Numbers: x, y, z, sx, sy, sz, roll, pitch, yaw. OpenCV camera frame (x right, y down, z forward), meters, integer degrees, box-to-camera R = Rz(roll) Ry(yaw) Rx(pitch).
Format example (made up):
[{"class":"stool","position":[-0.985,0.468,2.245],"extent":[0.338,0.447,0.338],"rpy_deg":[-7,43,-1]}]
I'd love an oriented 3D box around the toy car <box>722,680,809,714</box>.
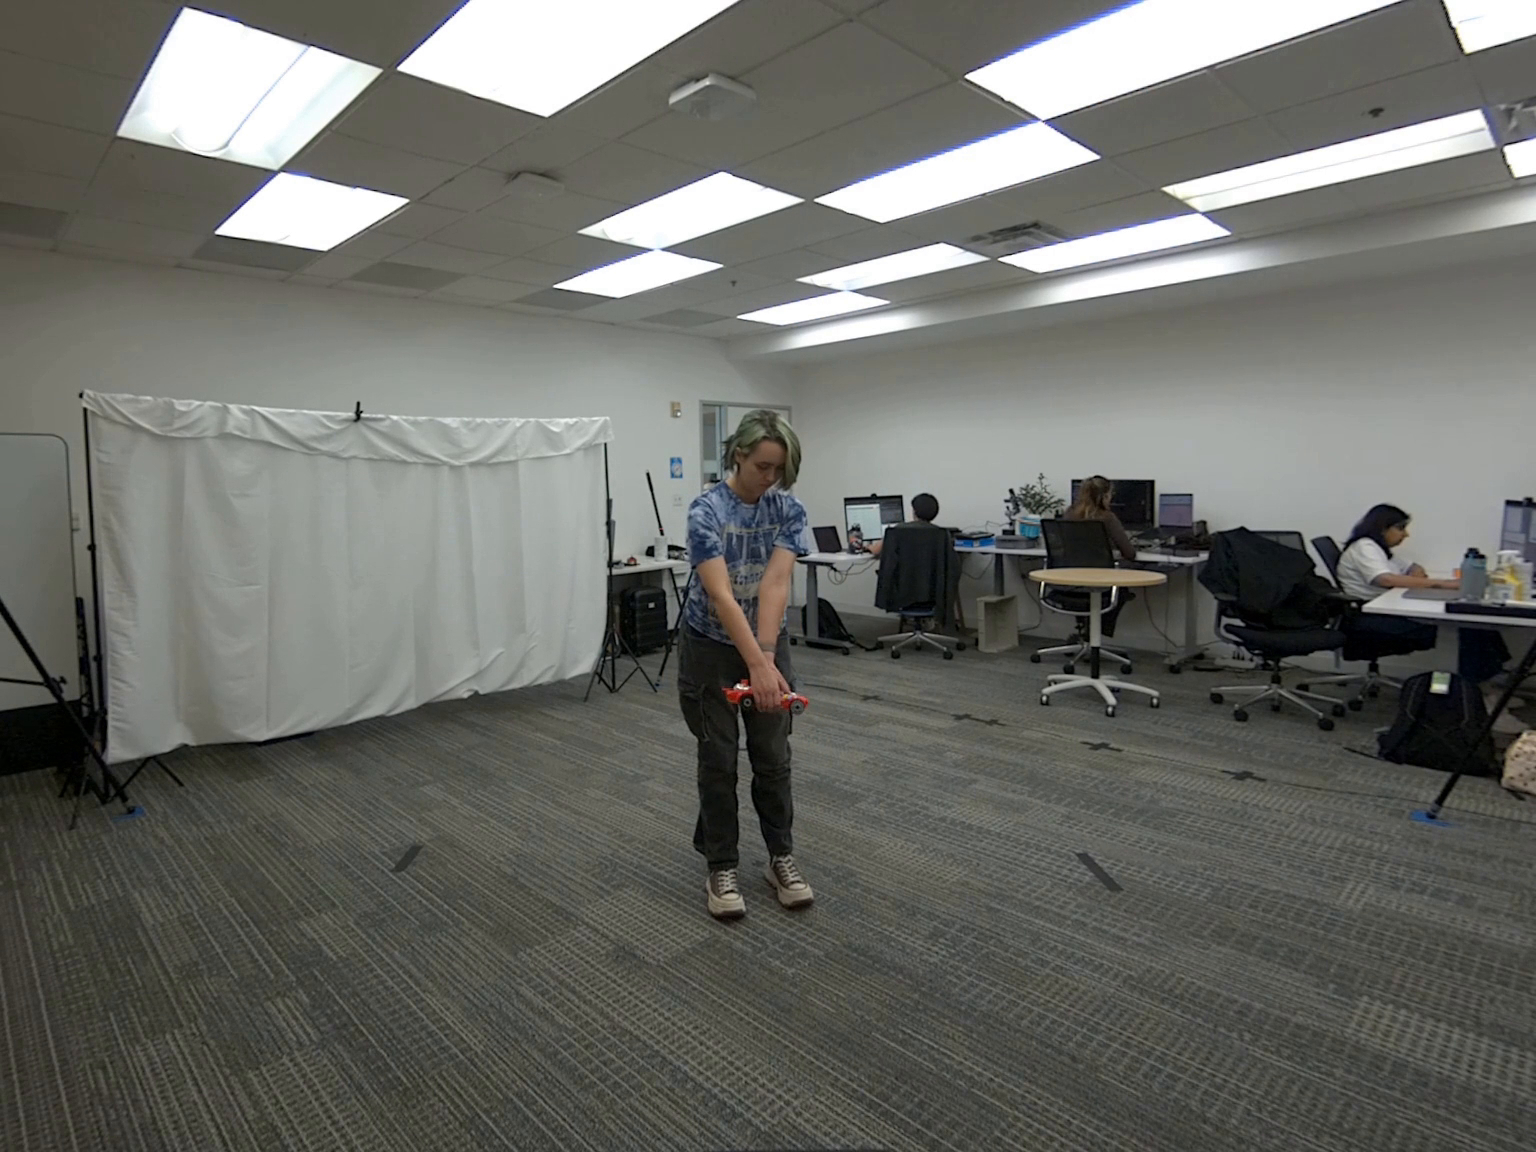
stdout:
[{"class":"toy car","position":[-0.017,0.372,2.523],"extent":[0.255,0.083,0.129],"rpy_deg":[15,-4,3]}]
